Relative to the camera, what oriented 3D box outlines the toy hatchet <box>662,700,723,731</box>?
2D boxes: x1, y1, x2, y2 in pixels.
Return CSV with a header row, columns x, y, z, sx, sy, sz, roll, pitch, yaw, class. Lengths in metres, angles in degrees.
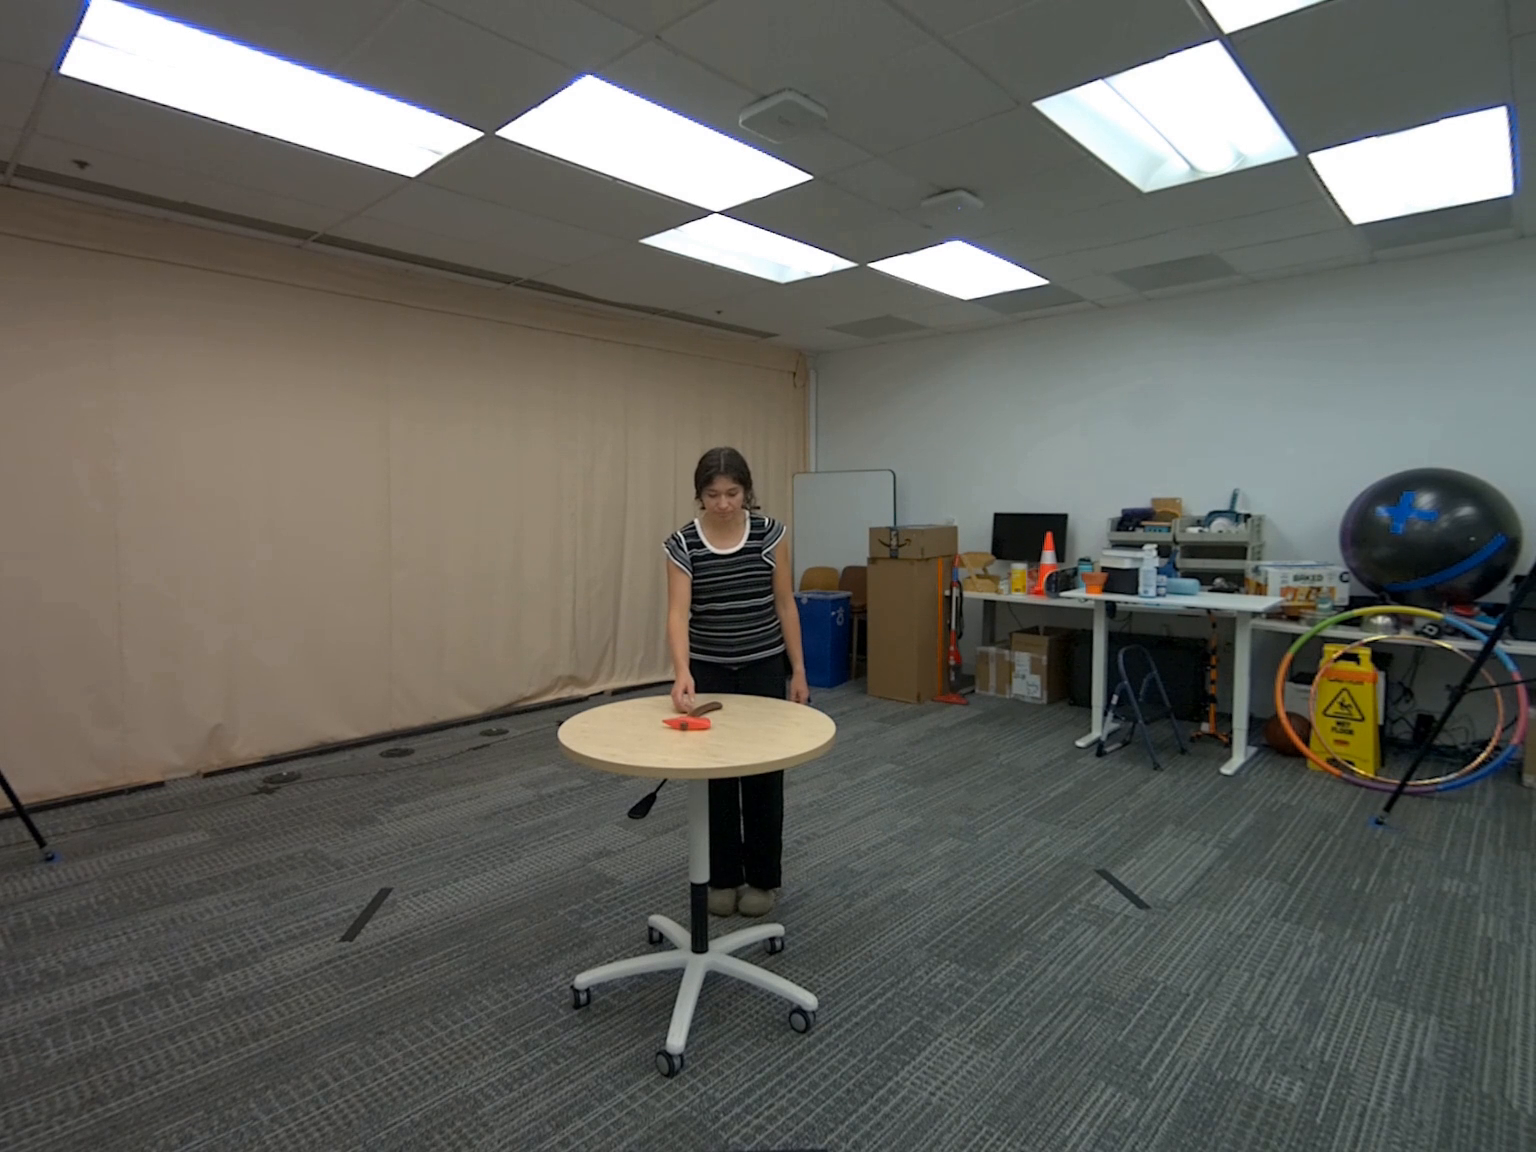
x,y,z,sx,sy,sz,roll,pitch,yaw,class
-0.182,0.397,2.398,0.135,0.029,0.263,3,5,30,toy hatchet
